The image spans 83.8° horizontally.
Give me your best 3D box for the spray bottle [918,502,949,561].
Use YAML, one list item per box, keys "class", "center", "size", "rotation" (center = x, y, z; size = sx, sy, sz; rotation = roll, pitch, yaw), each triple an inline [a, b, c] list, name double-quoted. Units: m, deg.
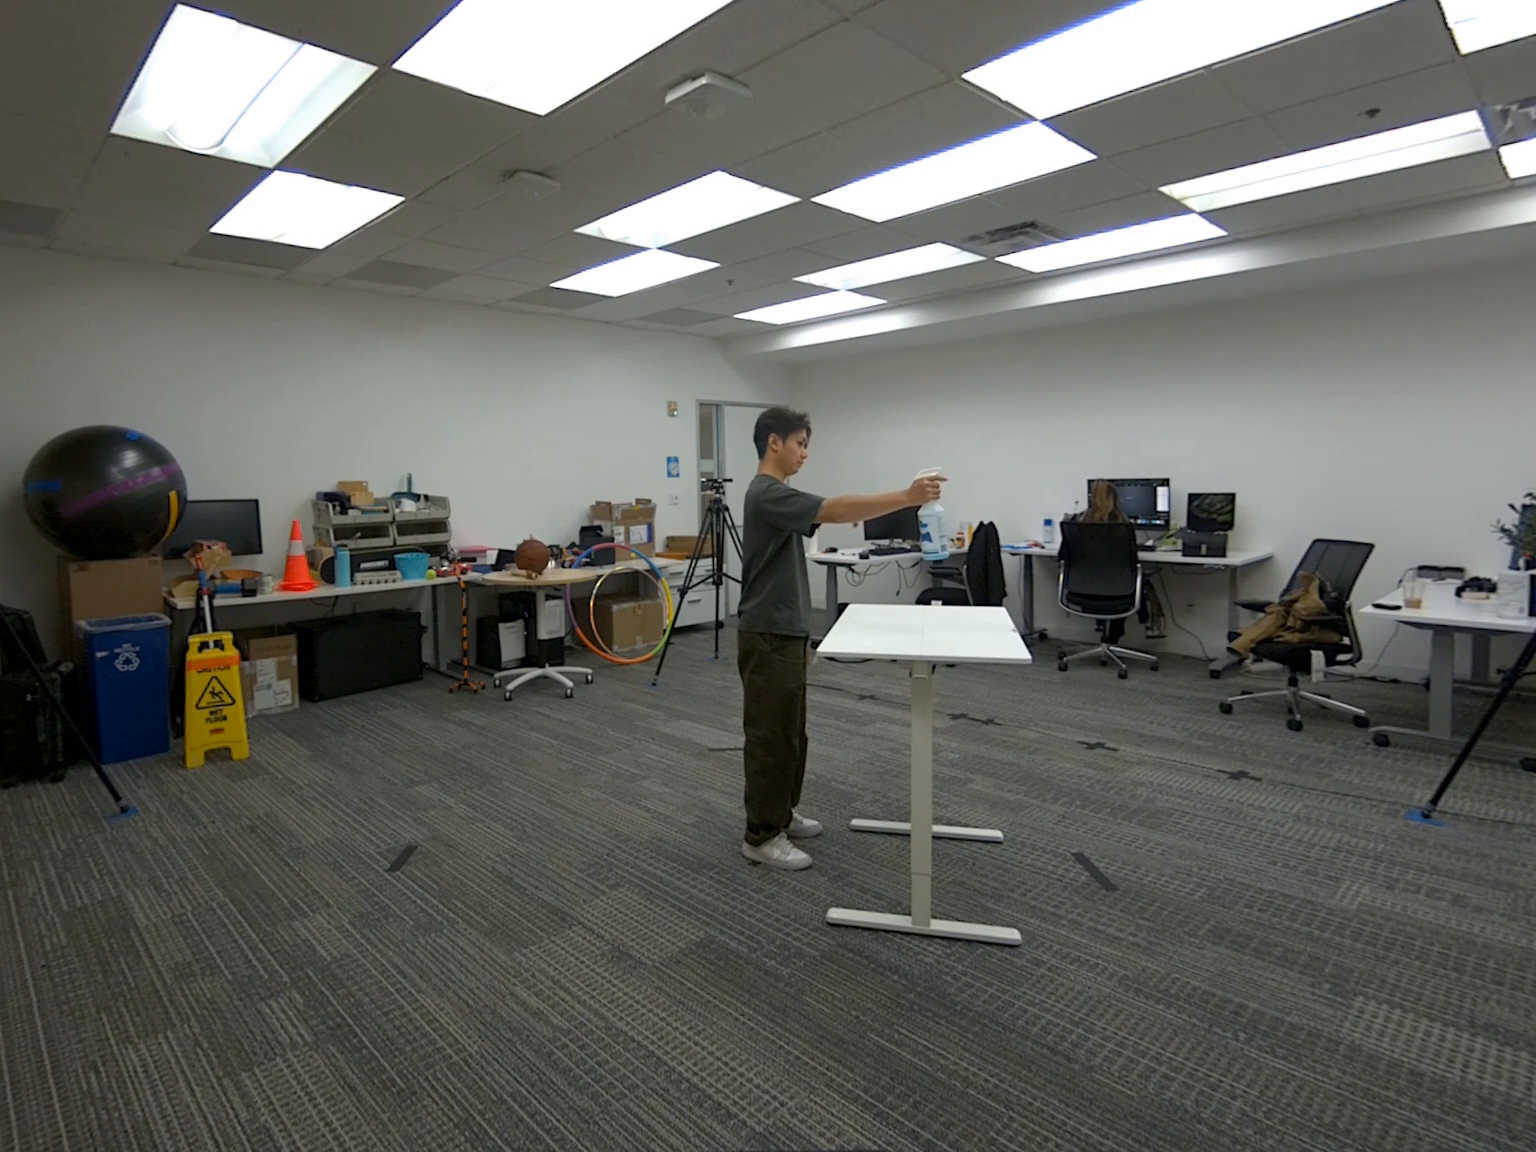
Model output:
- class: "spray bottle"
  center: [0.543, -0.203, 2.810]
  size: [0.092, 0.297, 0.085]
  rotation: [-6, 3, 32]
